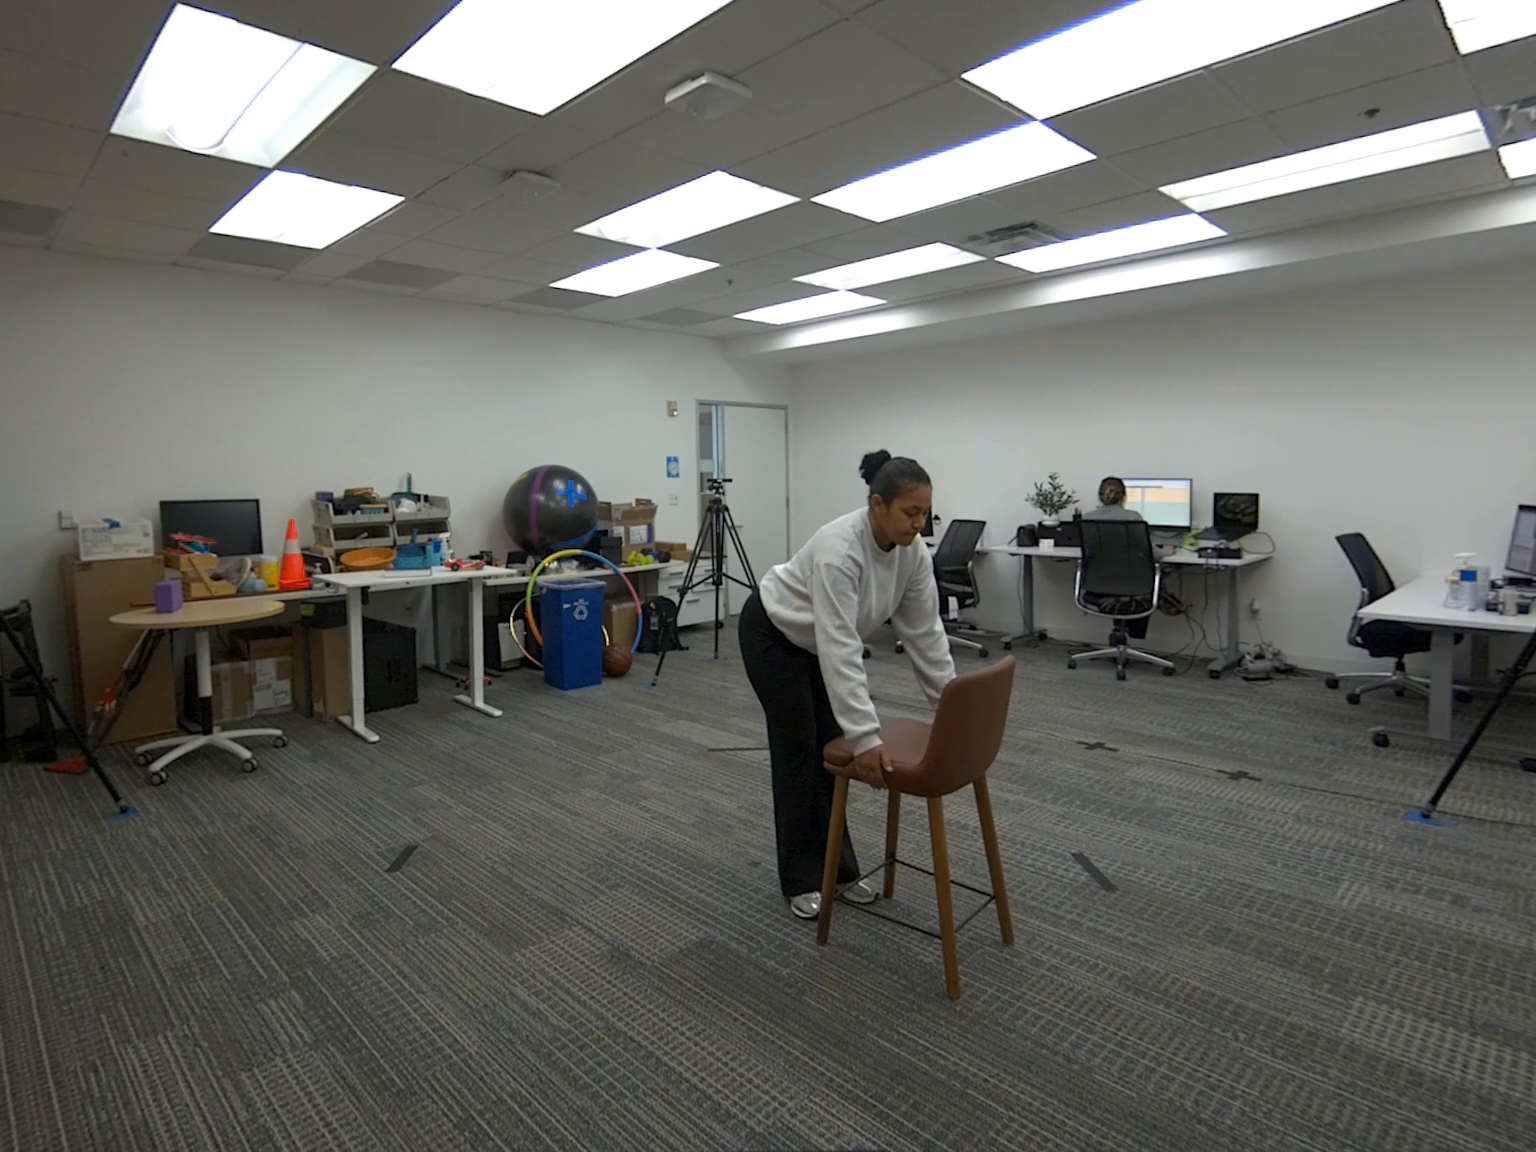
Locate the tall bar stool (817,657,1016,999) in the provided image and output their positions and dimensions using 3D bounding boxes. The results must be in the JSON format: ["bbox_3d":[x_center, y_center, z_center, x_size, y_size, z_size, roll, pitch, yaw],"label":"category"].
[{"bbox_3d":[0.446,0.664,2.526,0.482,0.885,0.445,5,8,40],"label":"tall bar stool"}]
